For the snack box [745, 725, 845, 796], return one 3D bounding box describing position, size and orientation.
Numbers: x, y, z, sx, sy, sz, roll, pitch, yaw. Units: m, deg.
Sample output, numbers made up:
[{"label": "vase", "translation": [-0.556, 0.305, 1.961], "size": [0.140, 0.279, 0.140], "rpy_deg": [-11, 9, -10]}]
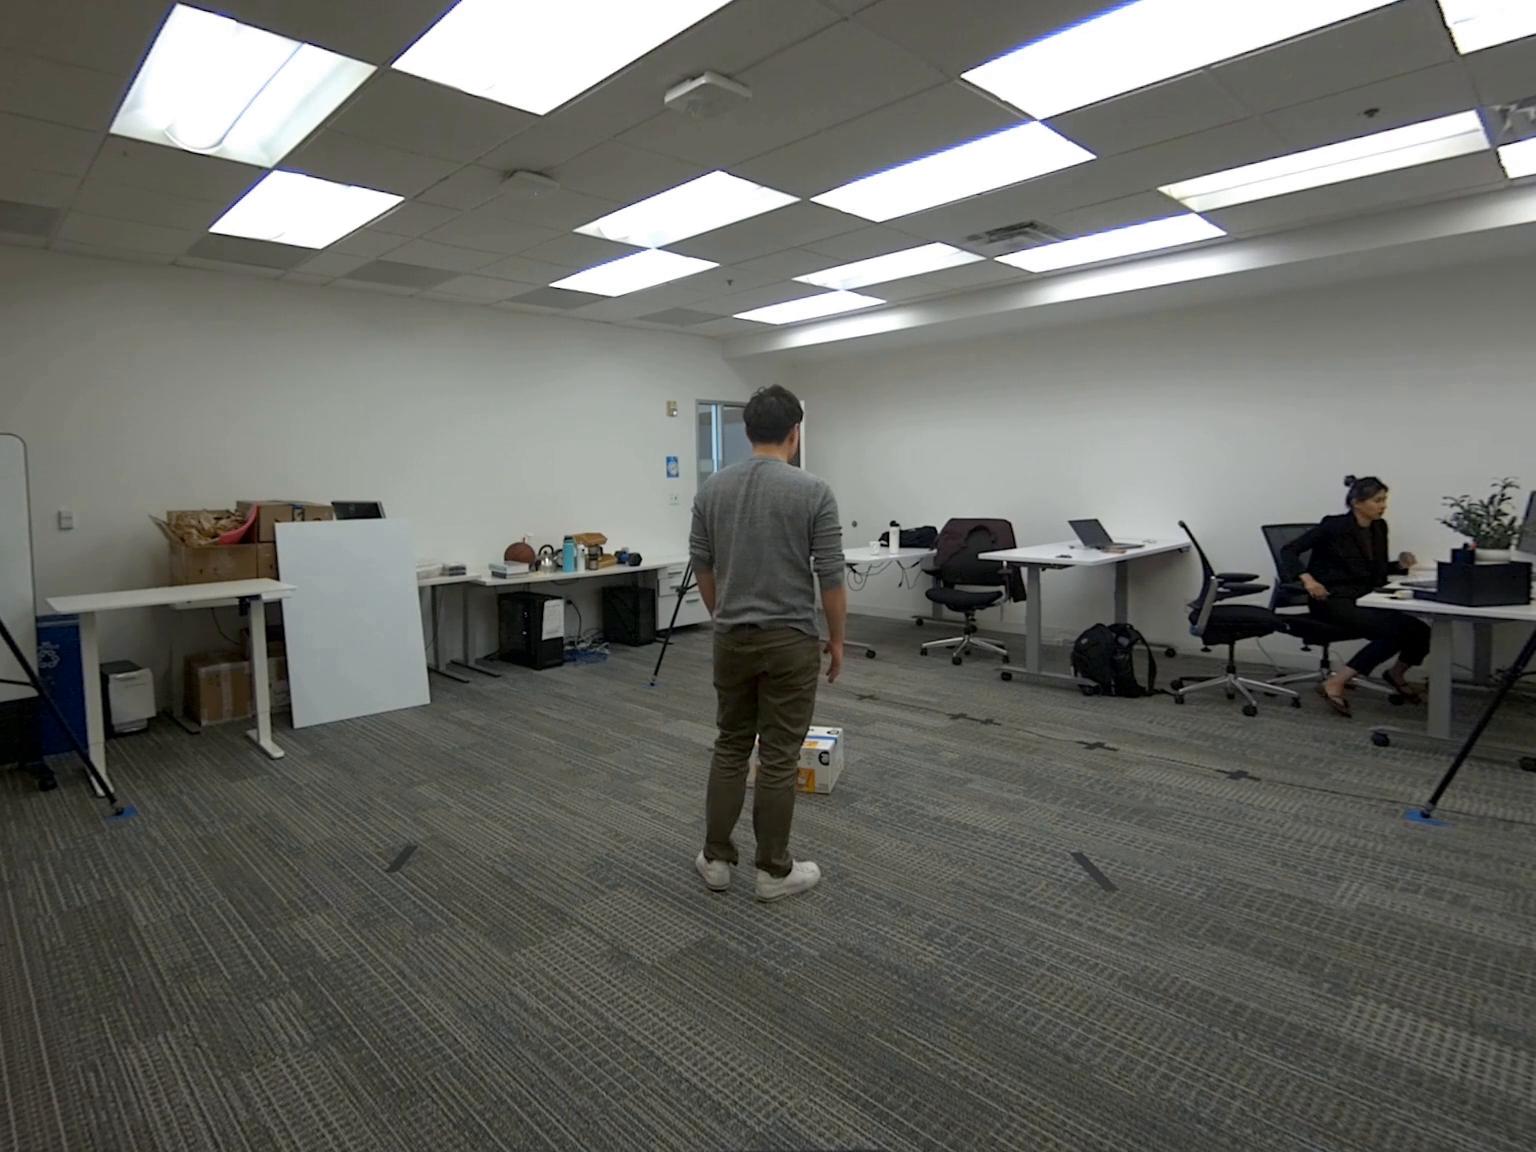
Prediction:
[{"label": "snack box", "translation": [0.122, 0.838, 3.972], "size": [0.412, 0.205, 0.336], "rpy_deg": [0, 6, 16]}]
